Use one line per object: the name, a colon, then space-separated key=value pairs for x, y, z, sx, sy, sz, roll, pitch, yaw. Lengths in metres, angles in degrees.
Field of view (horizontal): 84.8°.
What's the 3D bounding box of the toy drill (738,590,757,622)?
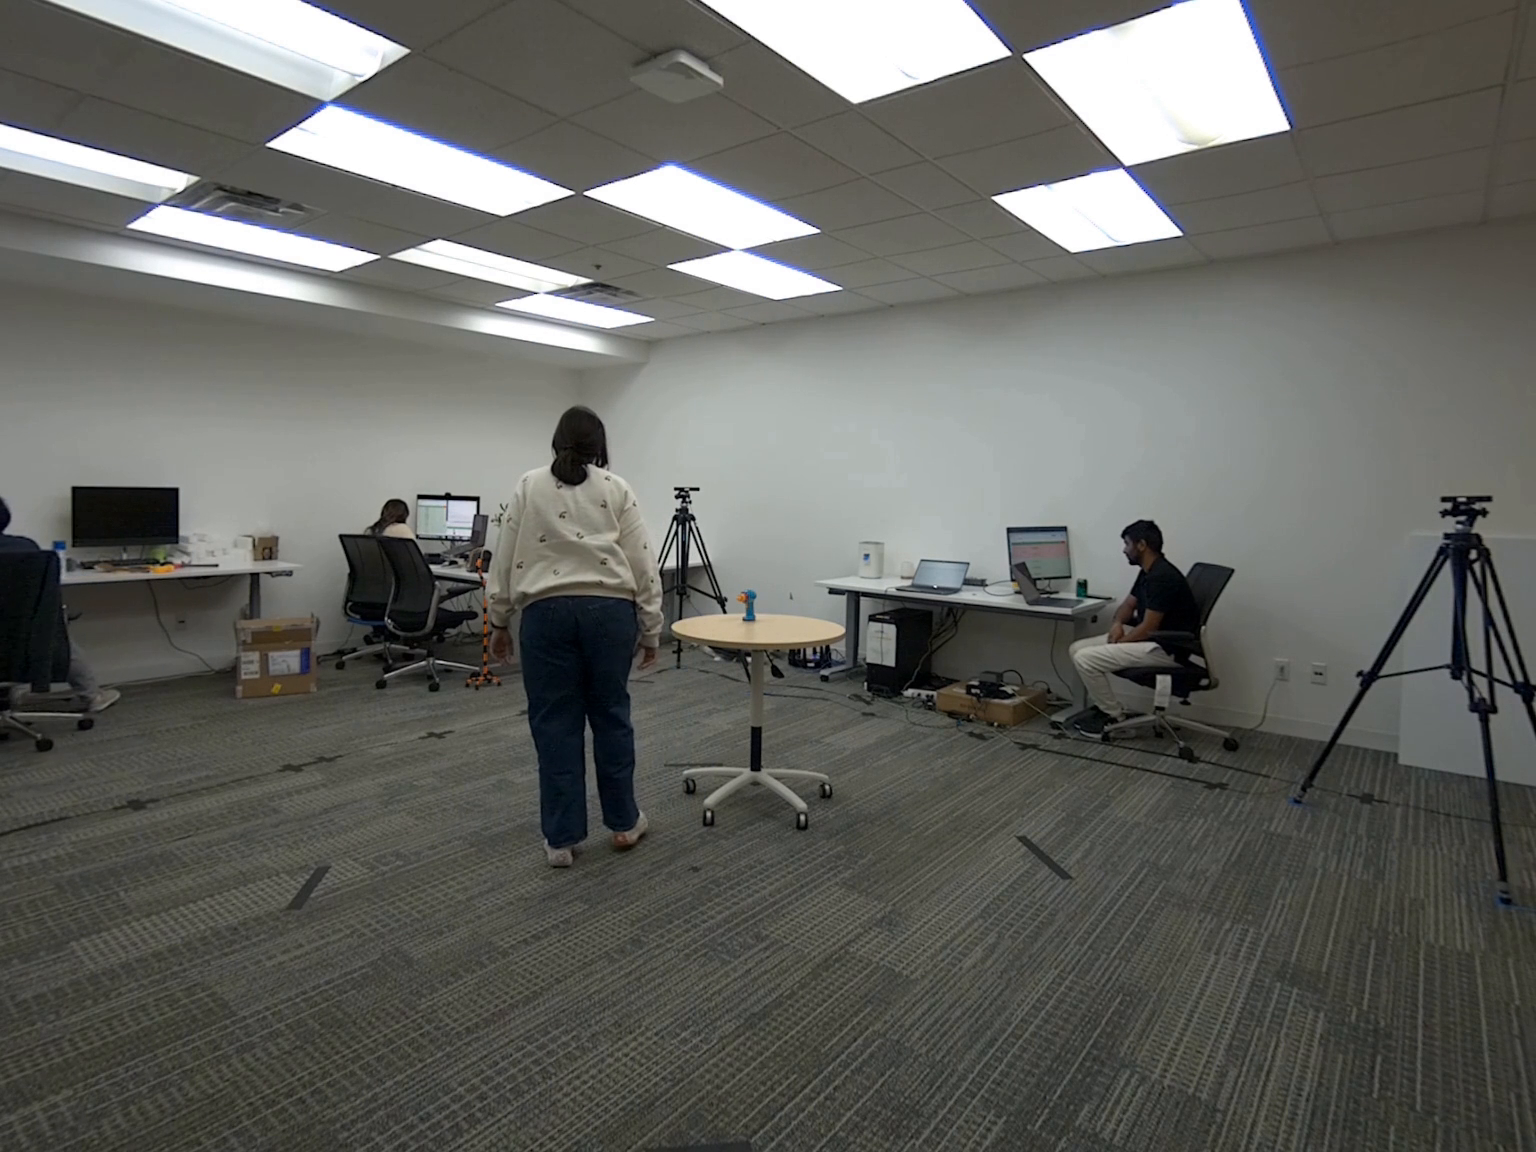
toy drill: x=-0.109 y=0.132 z=3.917 sx=0.062 sy=0.145 sz=0.166 roll=4 pitch=4 yaw=21
